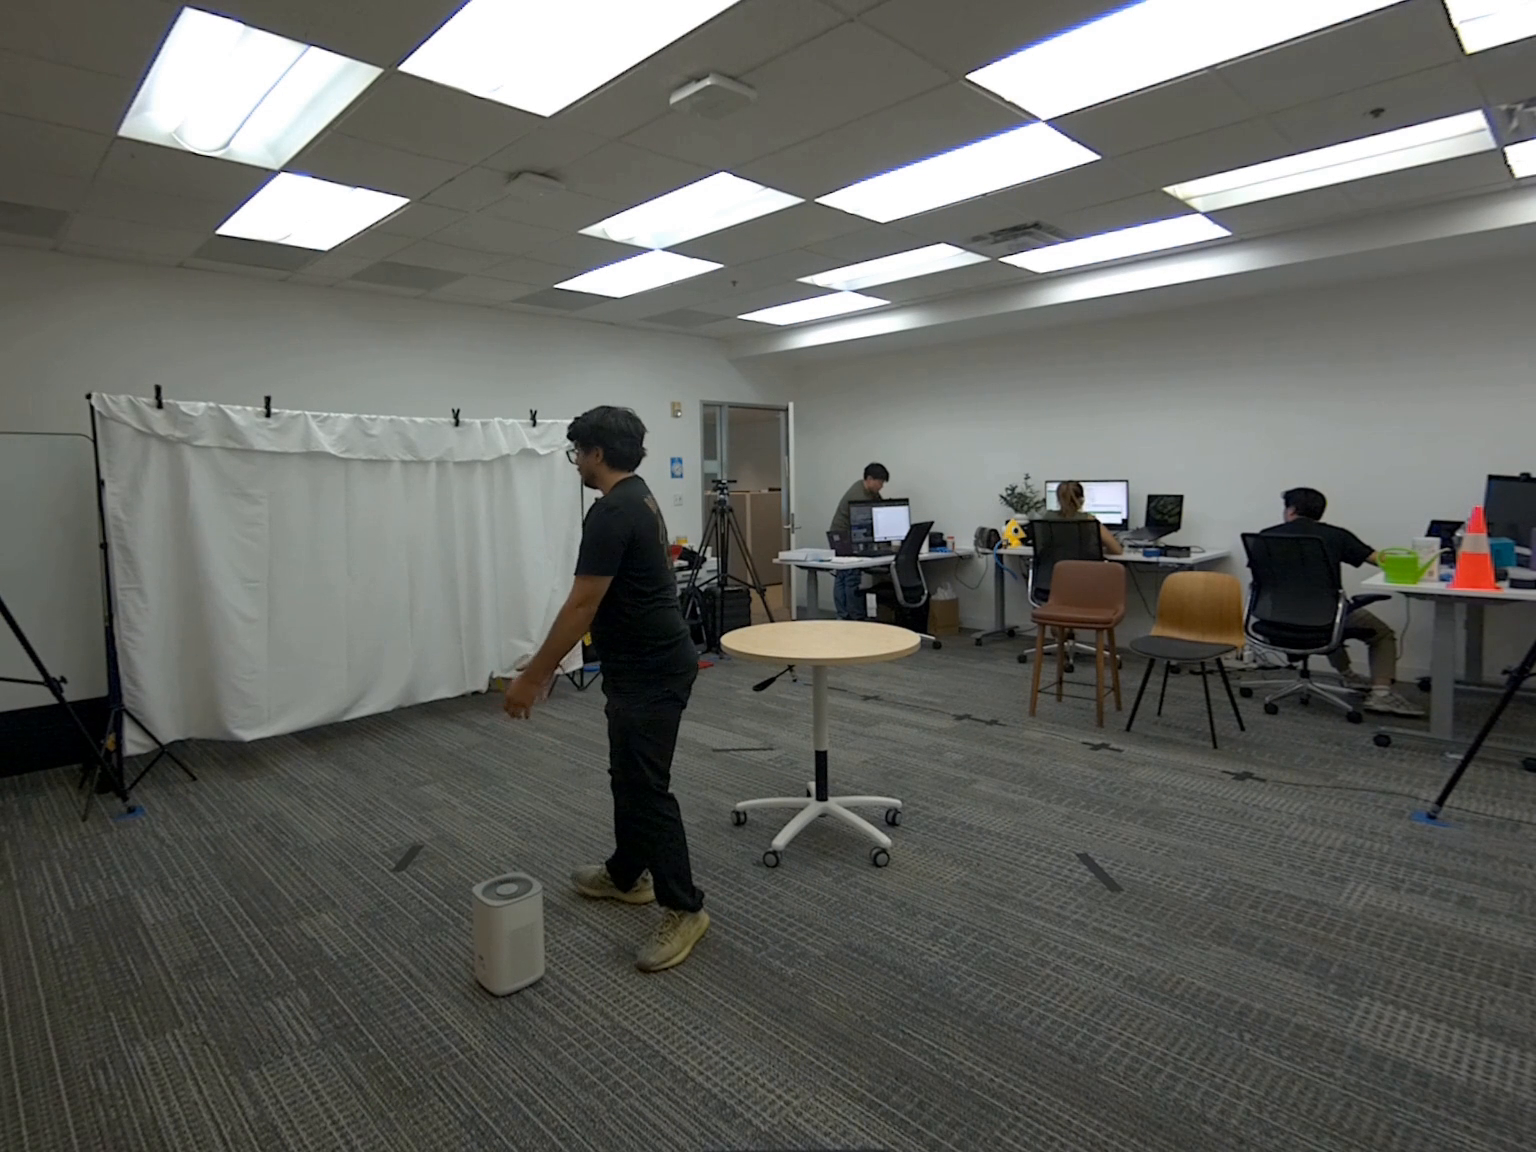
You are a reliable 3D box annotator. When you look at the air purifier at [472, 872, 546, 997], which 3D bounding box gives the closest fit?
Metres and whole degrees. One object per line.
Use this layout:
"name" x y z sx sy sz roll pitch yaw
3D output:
"air purifier" -0.722 1.006 2.409 0.176 0.264 0.167 4 7 45
